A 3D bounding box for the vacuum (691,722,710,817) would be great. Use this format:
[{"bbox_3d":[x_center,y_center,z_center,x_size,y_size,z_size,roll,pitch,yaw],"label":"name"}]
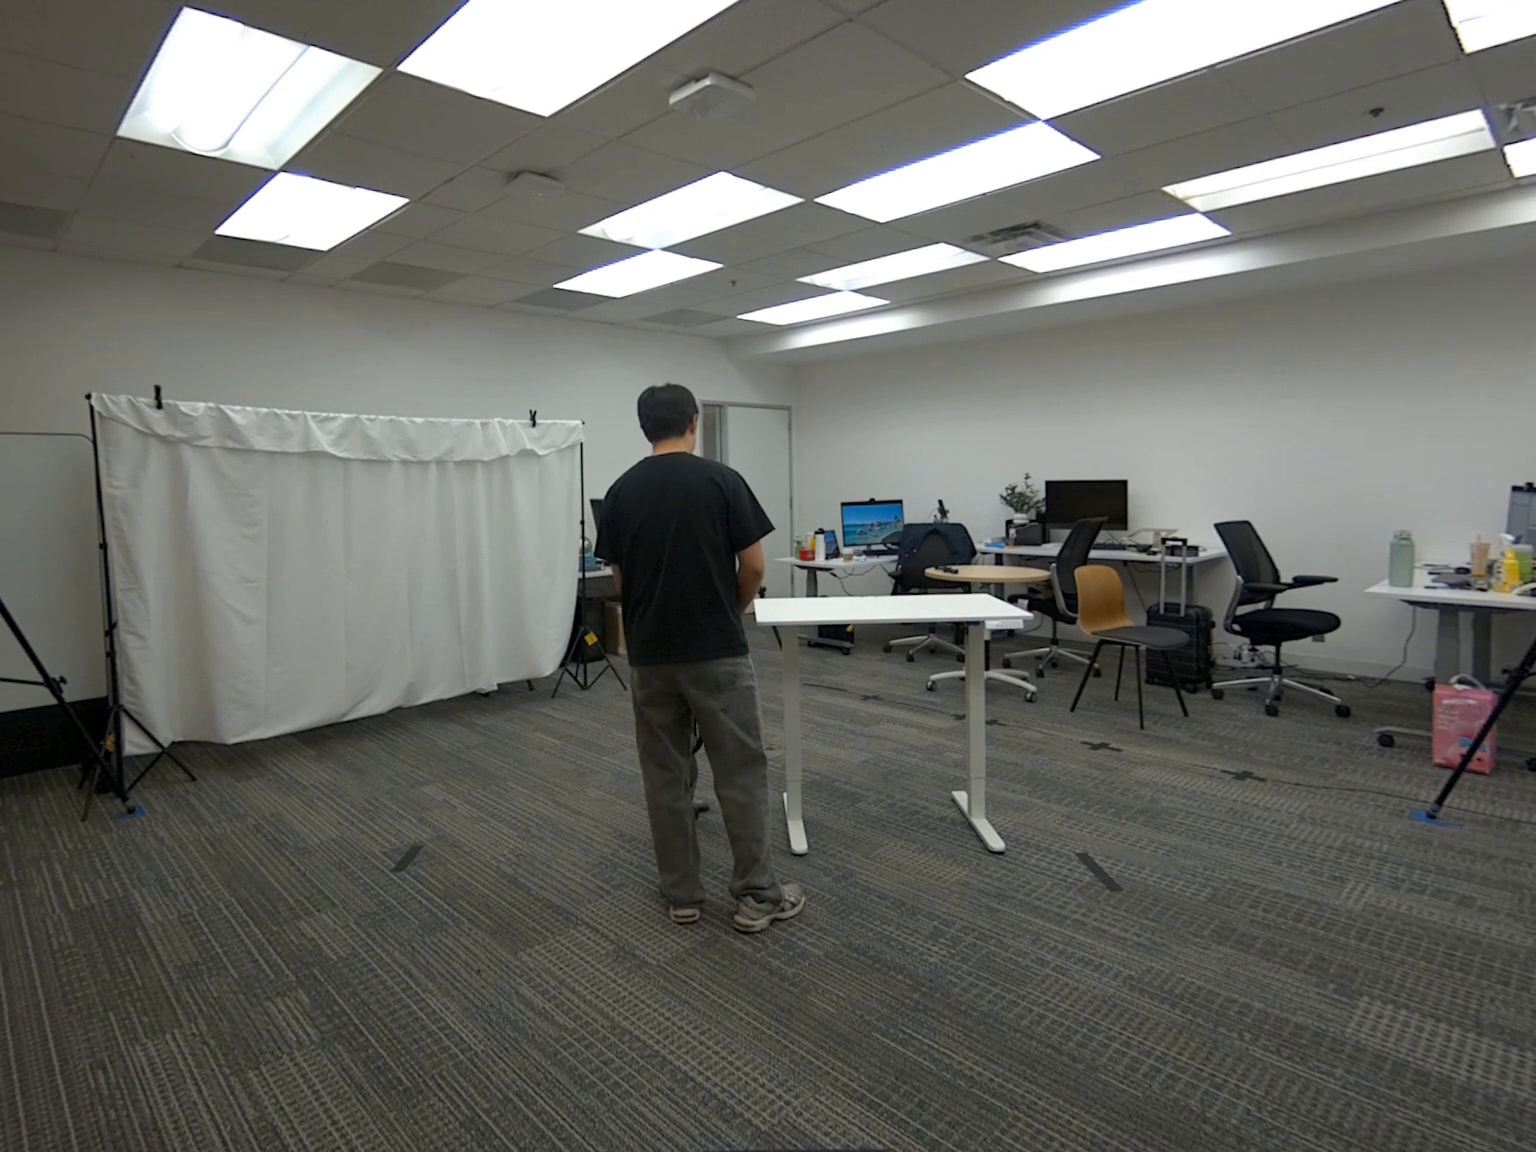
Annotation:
[{"bbox_3d":[-0.312,0.601,3.269,0.250,1.026,0.149,0,41,-11],"label":"vacuum"}]
